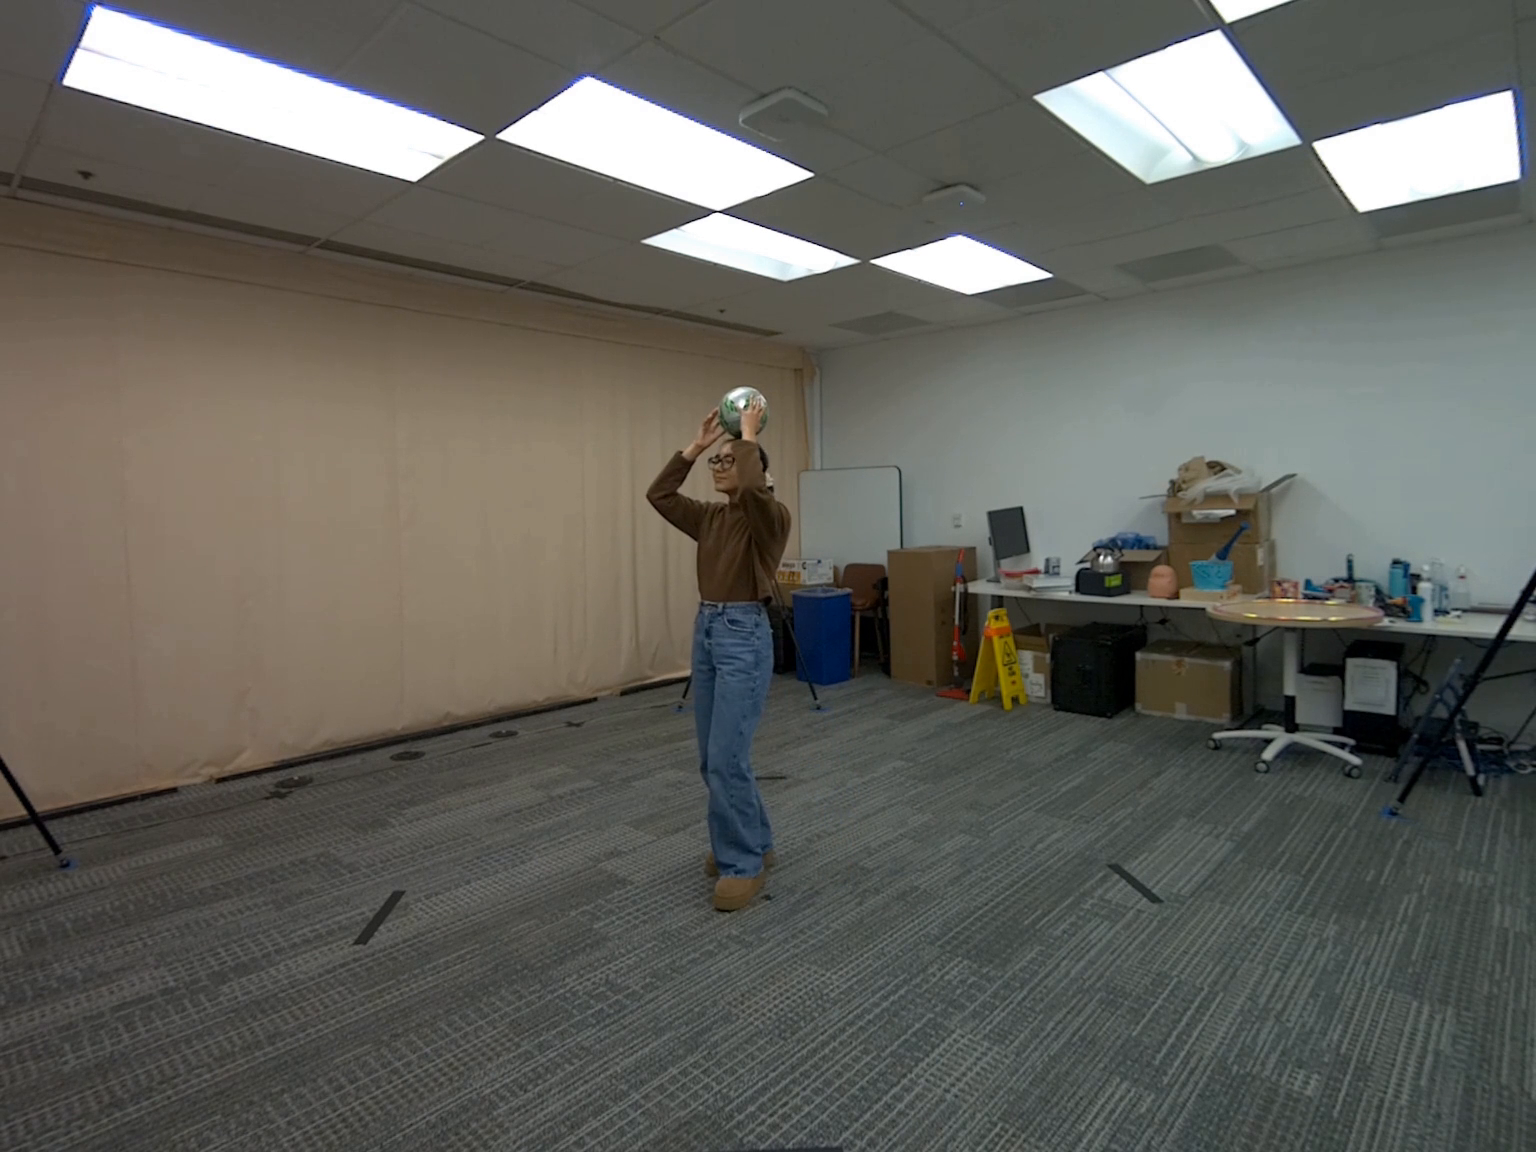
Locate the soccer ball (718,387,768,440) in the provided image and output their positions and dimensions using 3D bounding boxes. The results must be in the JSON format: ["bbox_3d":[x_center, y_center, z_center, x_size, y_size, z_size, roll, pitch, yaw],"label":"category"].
[{"bbox_3d":[-0.086,-0.592,3.075,0.187,0.187,0.188,-1,4,-2],"label":"soccer ball"}]
